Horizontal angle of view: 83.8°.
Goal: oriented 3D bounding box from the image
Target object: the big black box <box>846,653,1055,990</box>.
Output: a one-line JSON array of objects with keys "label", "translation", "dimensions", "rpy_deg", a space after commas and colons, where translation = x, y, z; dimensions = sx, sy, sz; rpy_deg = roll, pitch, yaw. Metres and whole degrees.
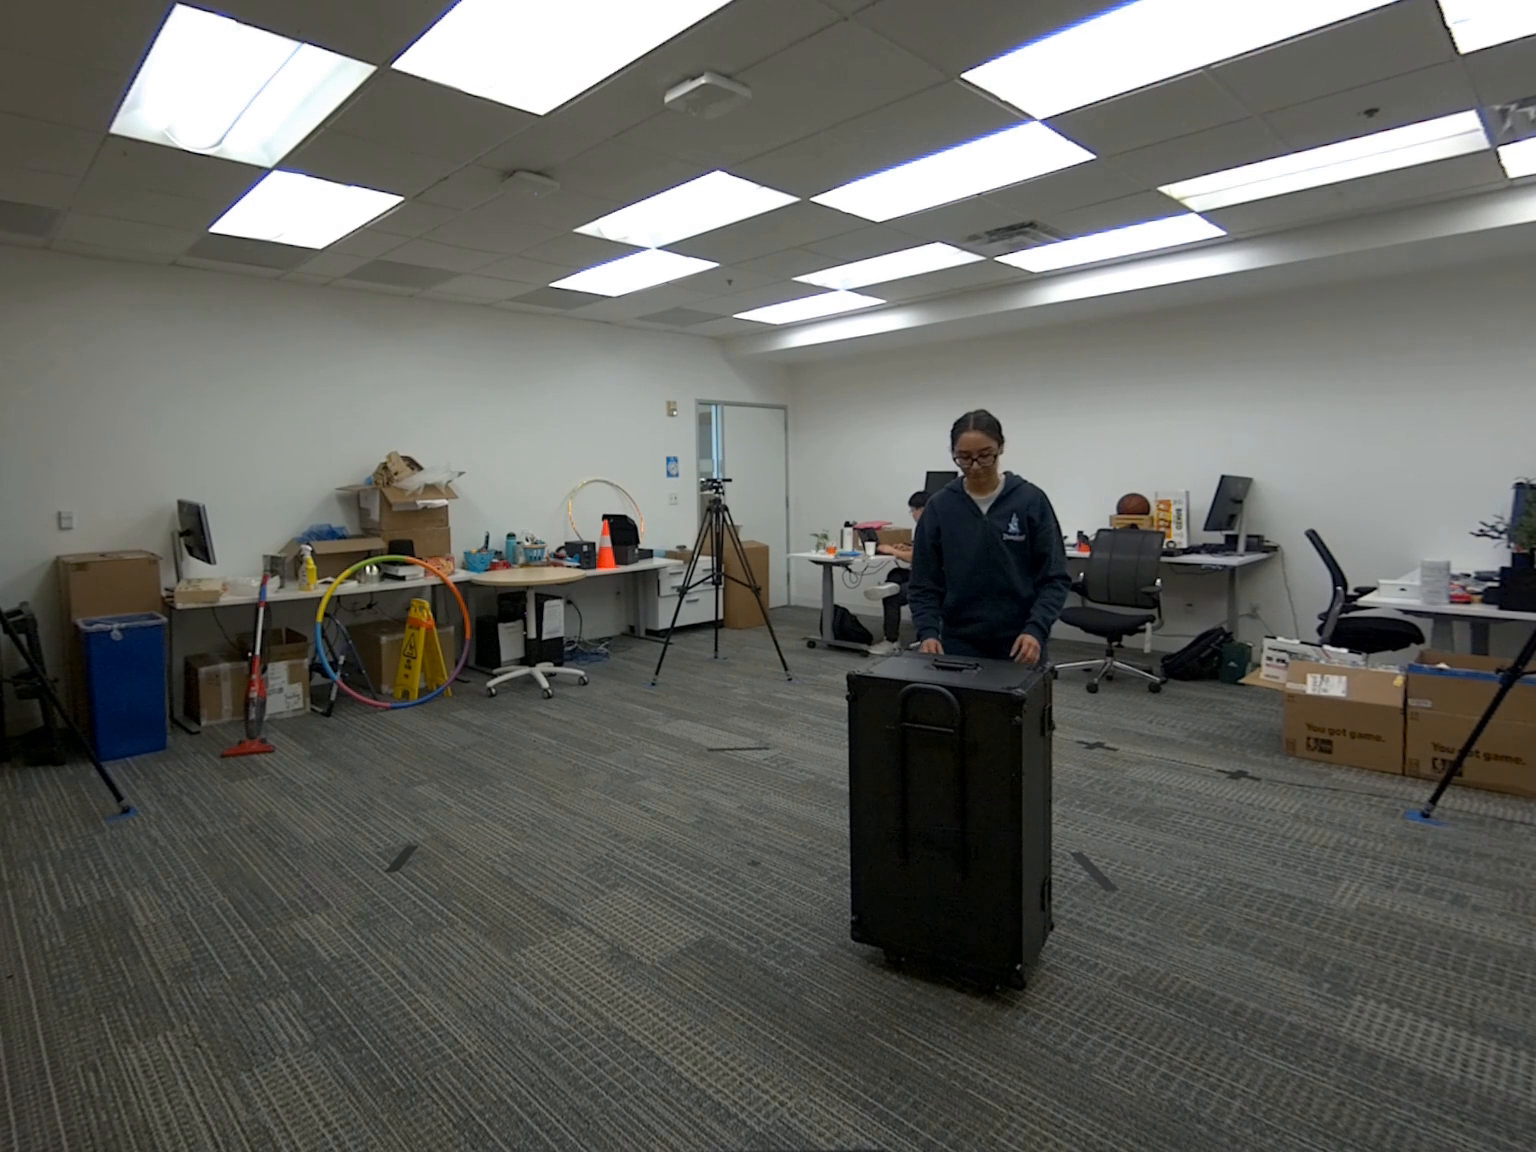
[{"label": "big black box", "translation": [0.525, 0.686, 2.429], "dimensions": [0.535, 0.857, 0.387], "rpy_deg": [2, 6, 32]}]
